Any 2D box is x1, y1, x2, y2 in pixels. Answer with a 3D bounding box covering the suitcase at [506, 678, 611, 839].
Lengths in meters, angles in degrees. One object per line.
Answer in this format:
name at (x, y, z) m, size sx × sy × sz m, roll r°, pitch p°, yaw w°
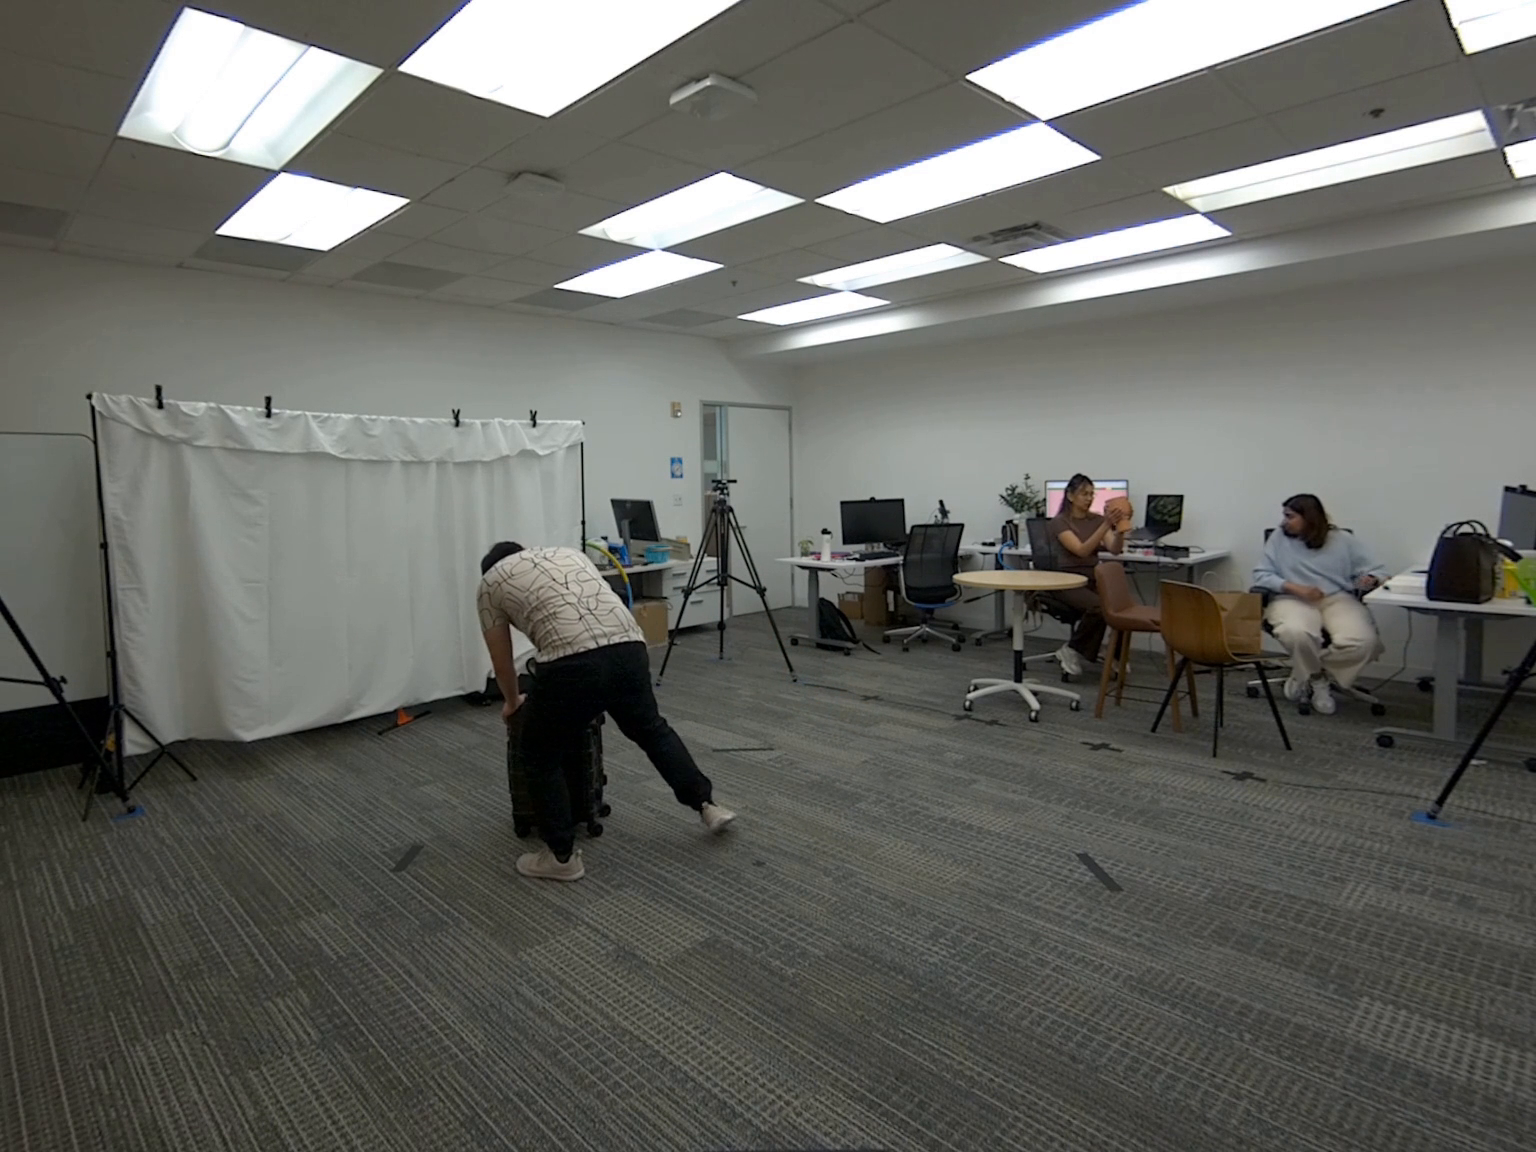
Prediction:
suitcase at (-0.863, 0.752, 3.480) m, size 0.377 × 0.547 × 0.248 m, roll -2°, pitch 4°, yaw 3°
